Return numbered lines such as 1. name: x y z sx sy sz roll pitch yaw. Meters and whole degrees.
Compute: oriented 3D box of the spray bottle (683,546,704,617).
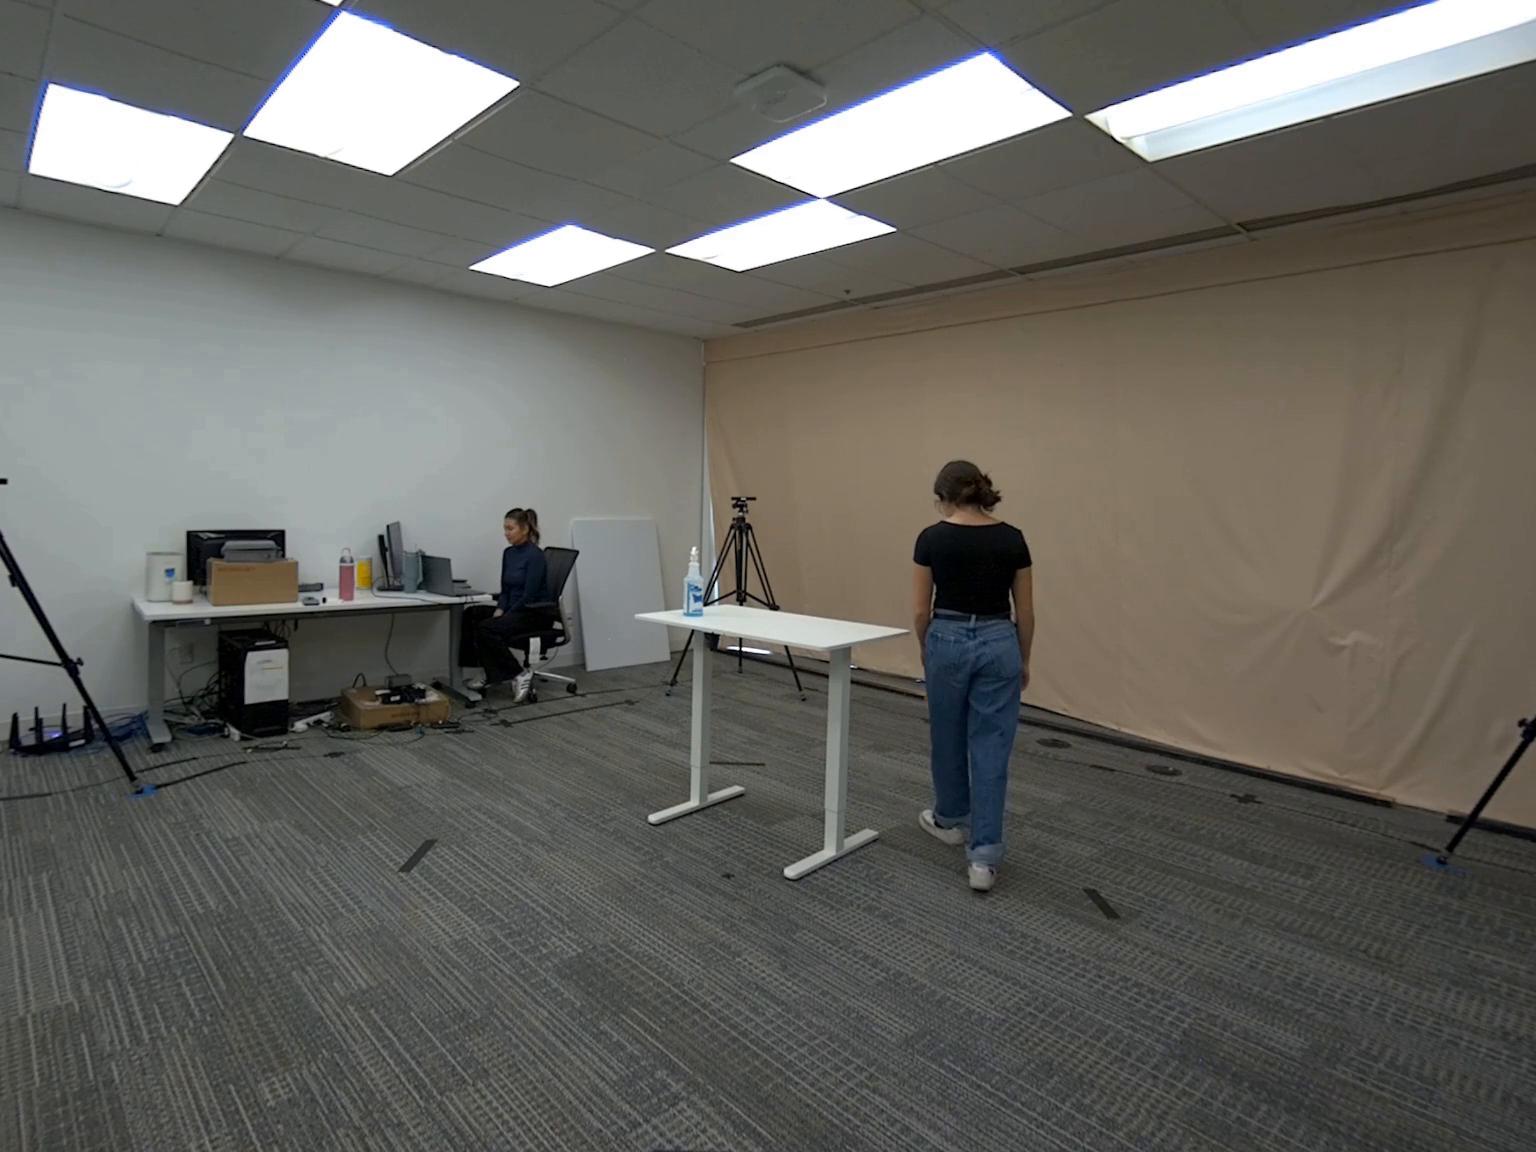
1. spray bottle: -0.325 0.027 3.641 0.088 0.297 0.088 2 1 24
